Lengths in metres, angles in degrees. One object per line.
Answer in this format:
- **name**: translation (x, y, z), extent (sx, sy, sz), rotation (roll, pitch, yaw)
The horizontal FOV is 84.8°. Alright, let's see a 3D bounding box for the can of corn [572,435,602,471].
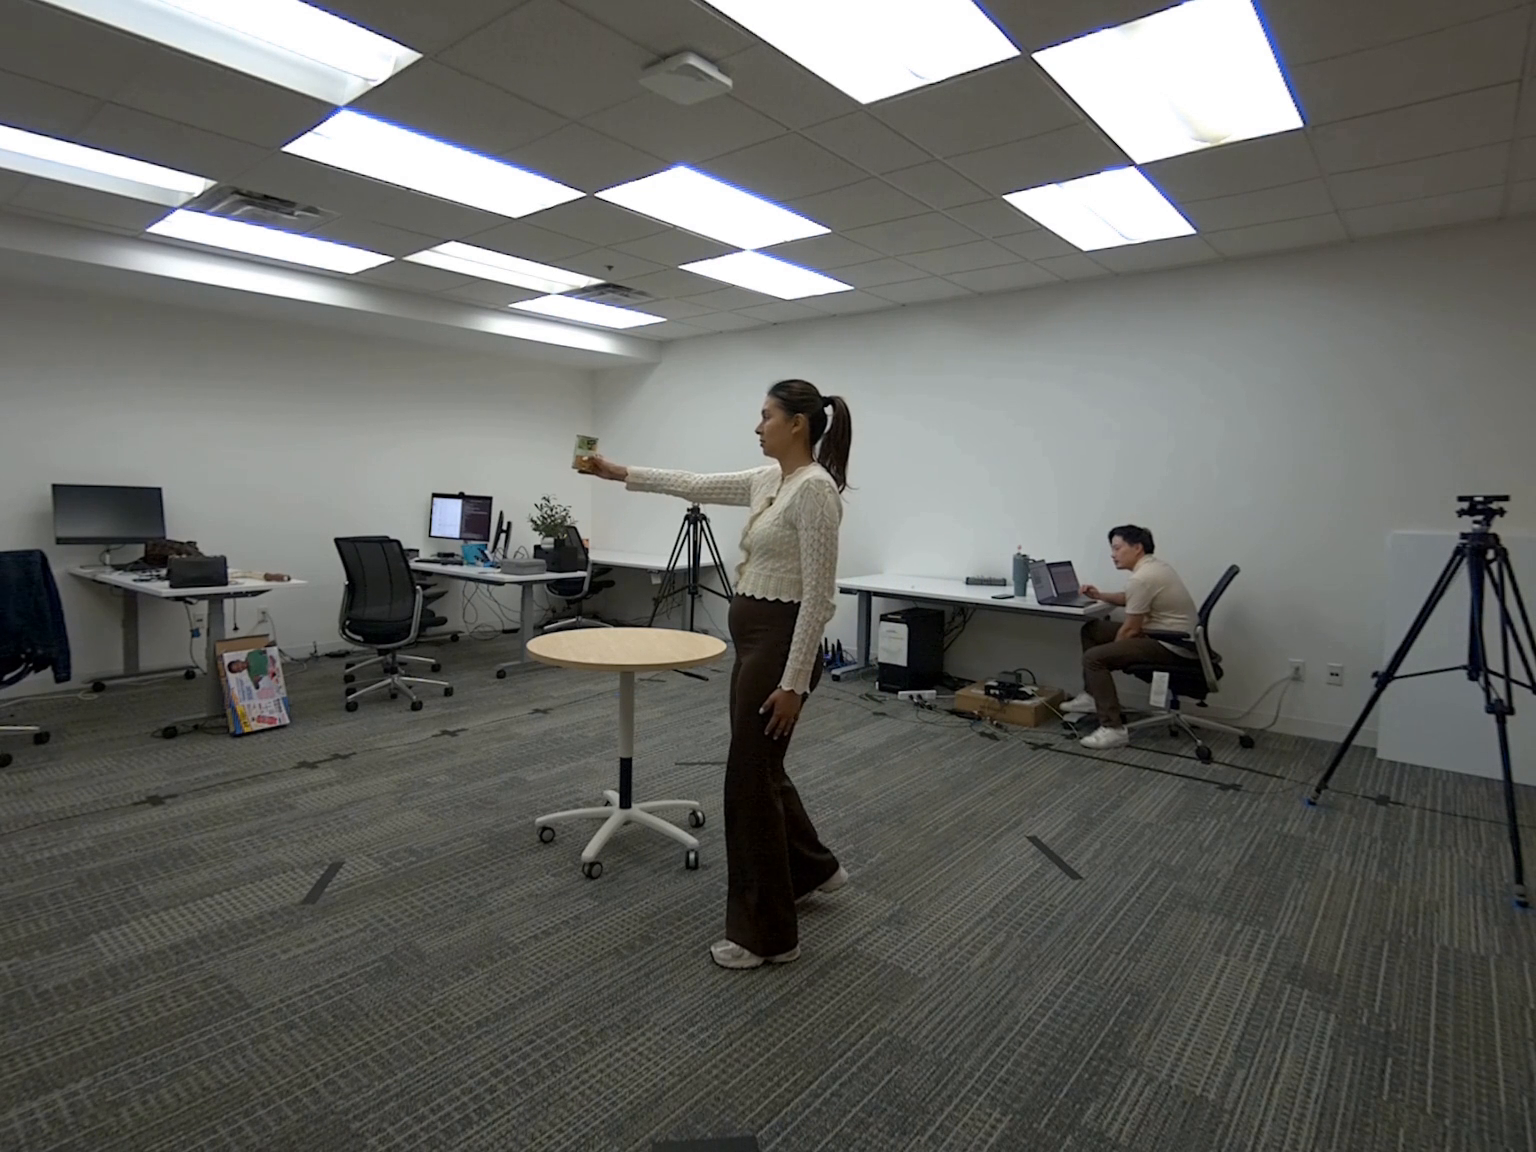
- **can of corn**: translation (-0.614, -0.413, 2.838), extent (0.074, 0.111, 0.074), rotation (7, 3, -2)
